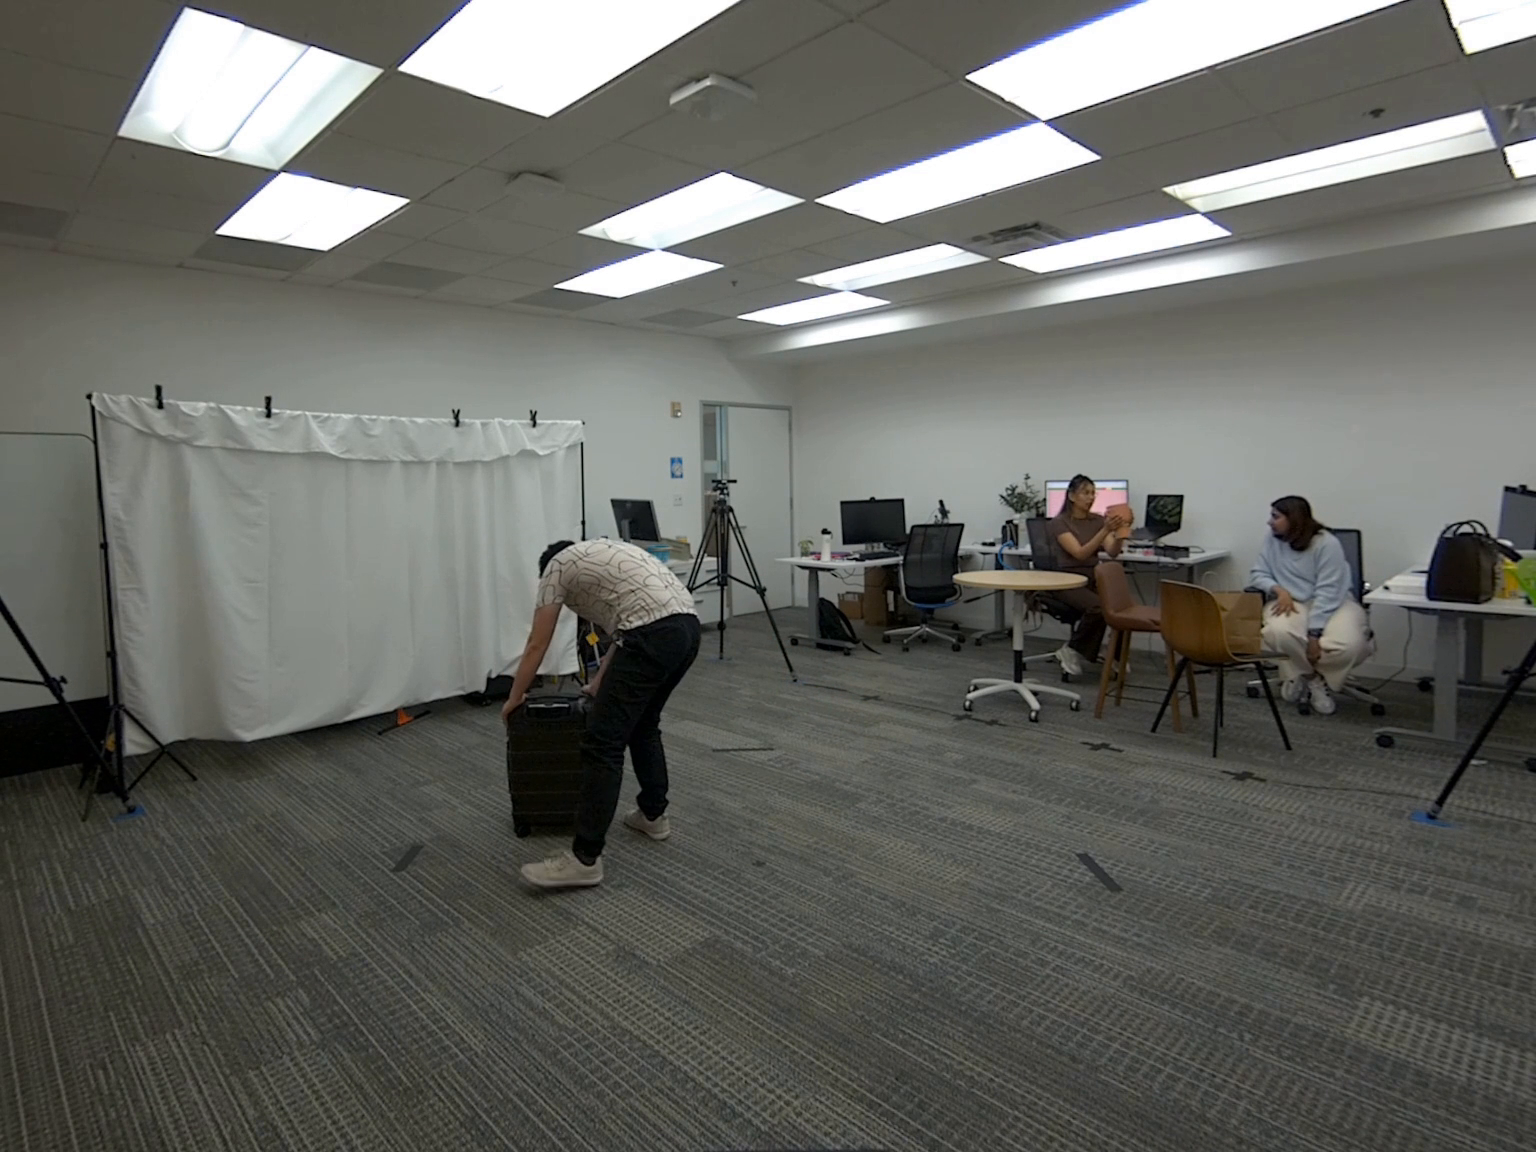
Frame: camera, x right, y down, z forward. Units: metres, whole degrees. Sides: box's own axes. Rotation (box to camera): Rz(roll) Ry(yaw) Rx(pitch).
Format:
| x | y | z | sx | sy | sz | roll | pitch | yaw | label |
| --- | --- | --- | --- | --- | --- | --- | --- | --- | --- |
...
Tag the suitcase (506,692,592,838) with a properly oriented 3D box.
| x | y | z | sx | sy | sz | roll | pitch | yaw | label |
| --- | --- | --- | --- | --- | --- | --- | --- | --- | --- |
| -0.878 | 0.757 | 3.493 | 0.375 | 0.548 | 0.249 | -3 | 3 | -1 | suitcase |
